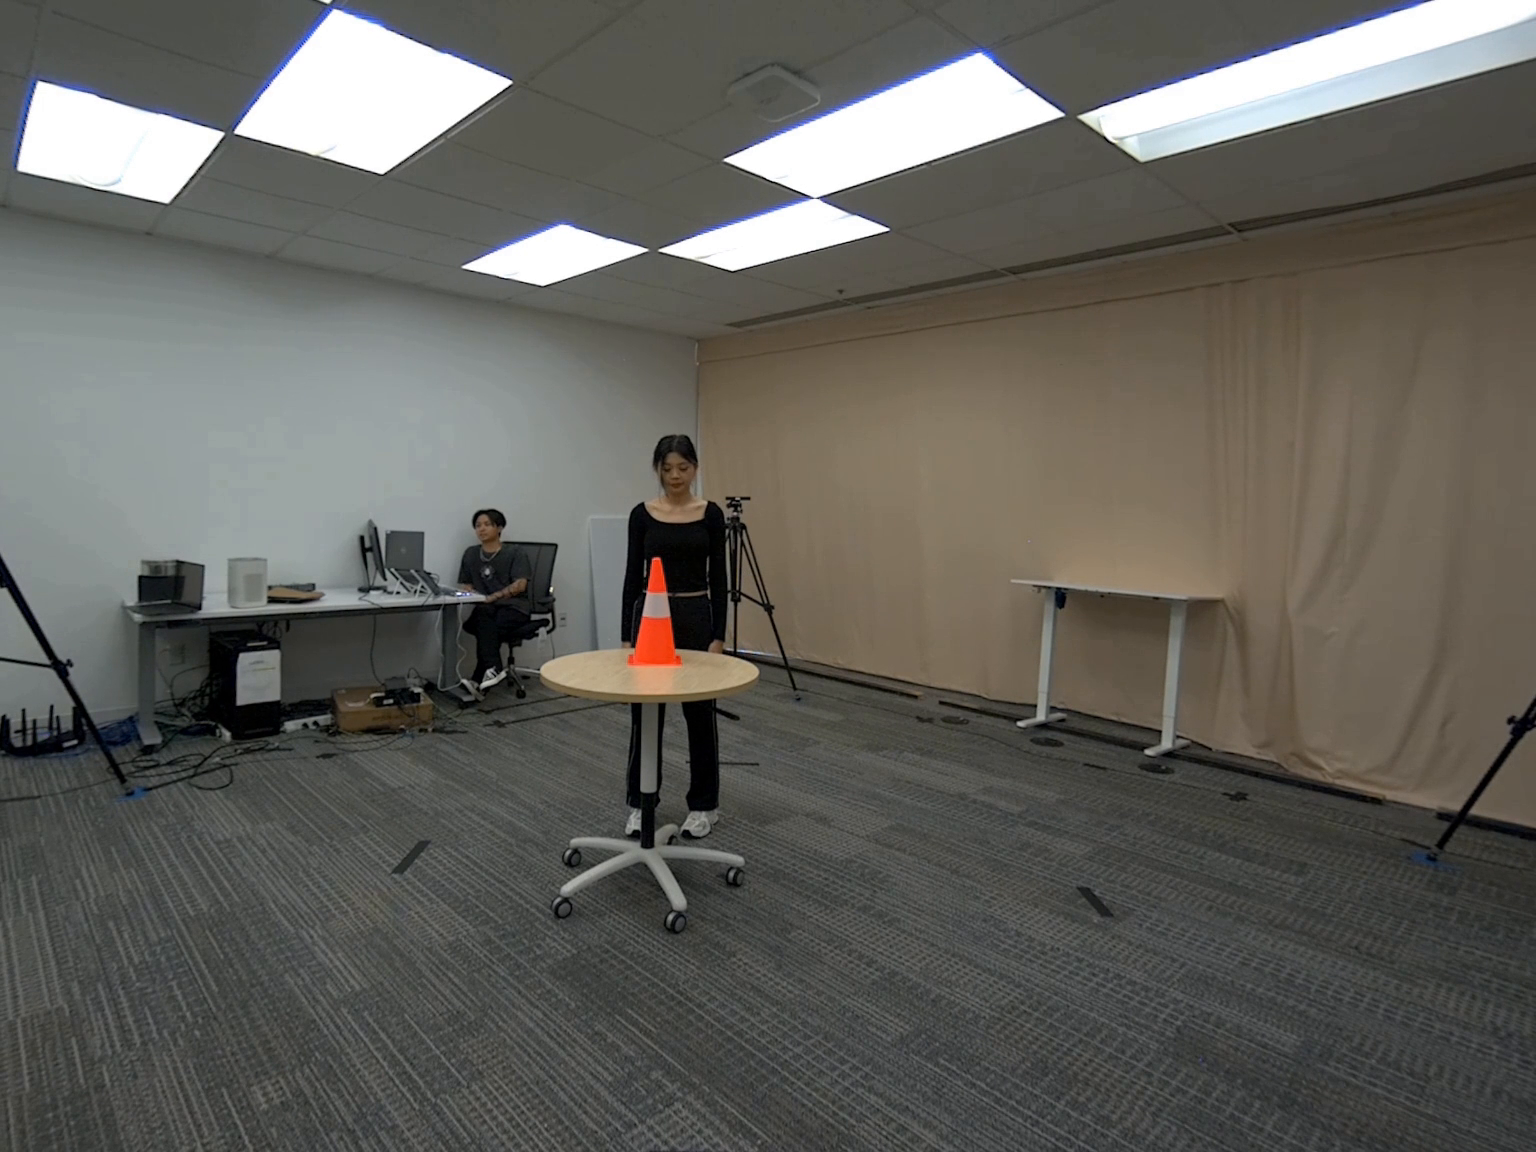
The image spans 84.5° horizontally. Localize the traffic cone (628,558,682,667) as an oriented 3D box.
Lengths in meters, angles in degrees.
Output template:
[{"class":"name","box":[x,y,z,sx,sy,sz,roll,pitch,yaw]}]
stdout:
[{"class":"traffic cone","box":[-0.431,0.127,3.109,0.204,0.383,0.205,1,4,-8]}]
